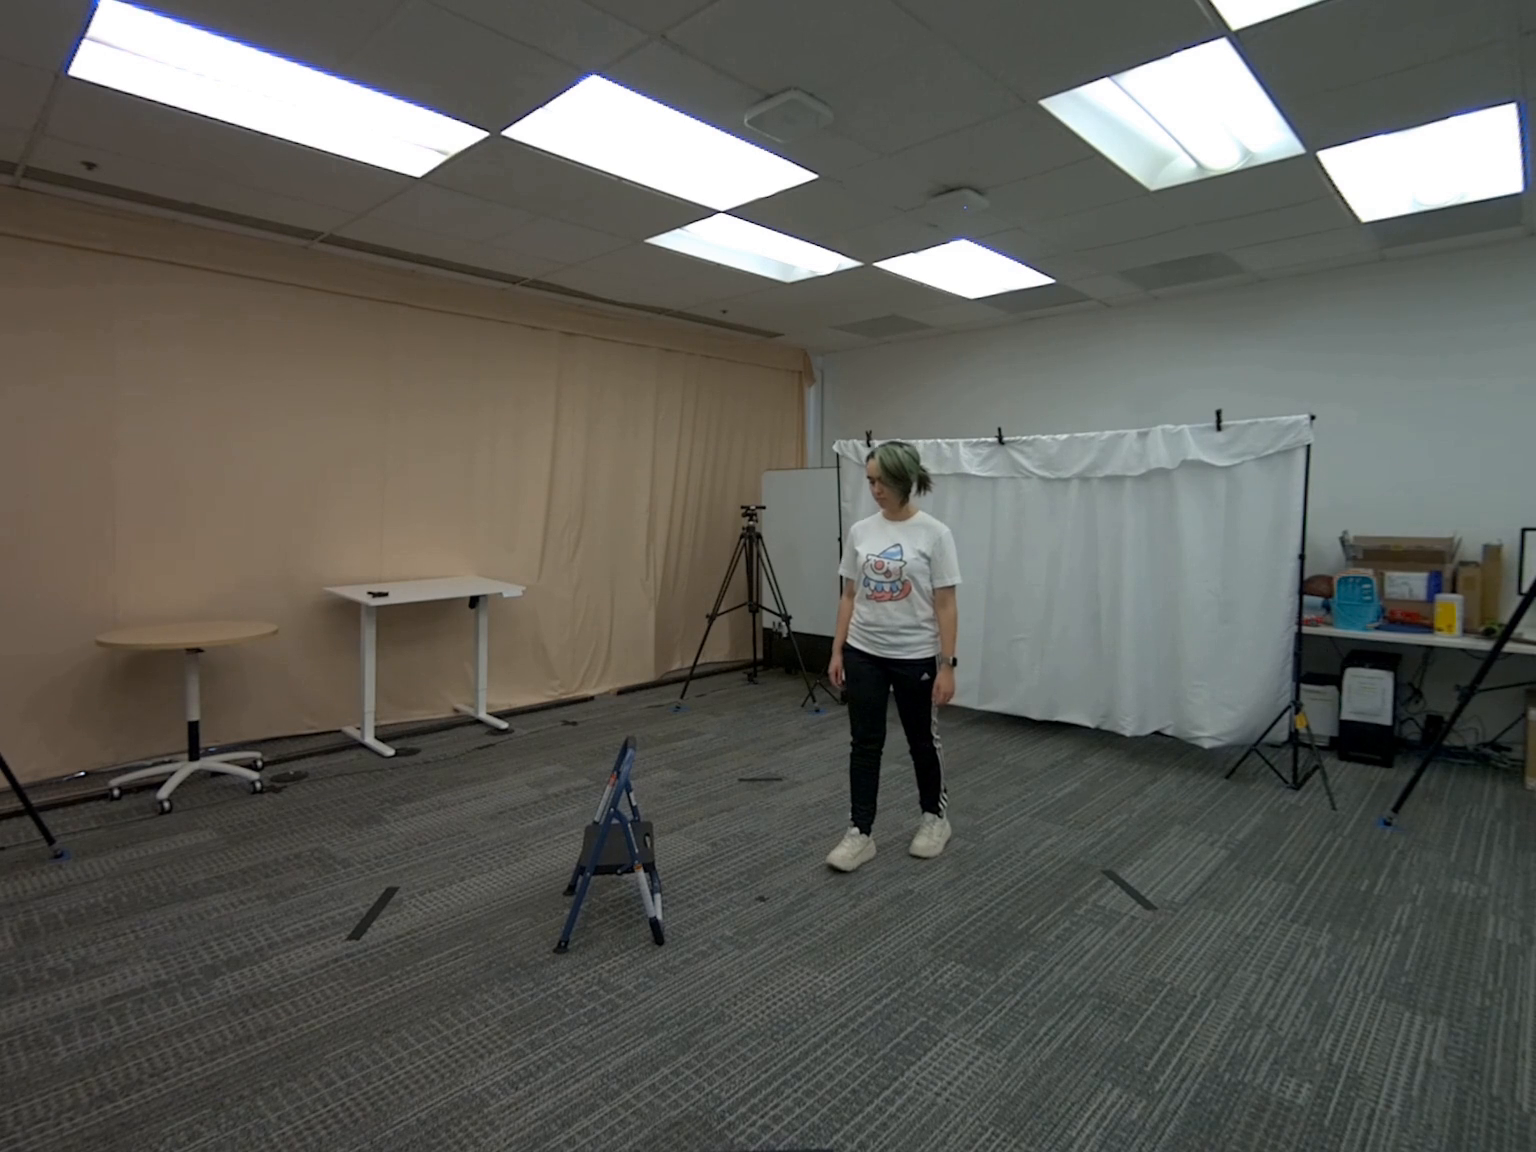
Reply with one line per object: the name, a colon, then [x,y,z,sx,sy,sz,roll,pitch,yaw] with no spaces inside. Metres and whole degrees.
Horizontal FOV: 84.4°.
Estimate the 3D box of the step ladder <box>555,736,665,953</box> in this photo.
step ladder: [-0.532,0.860,2.837,0.346,0.605,0.435,-1,4,-9]
